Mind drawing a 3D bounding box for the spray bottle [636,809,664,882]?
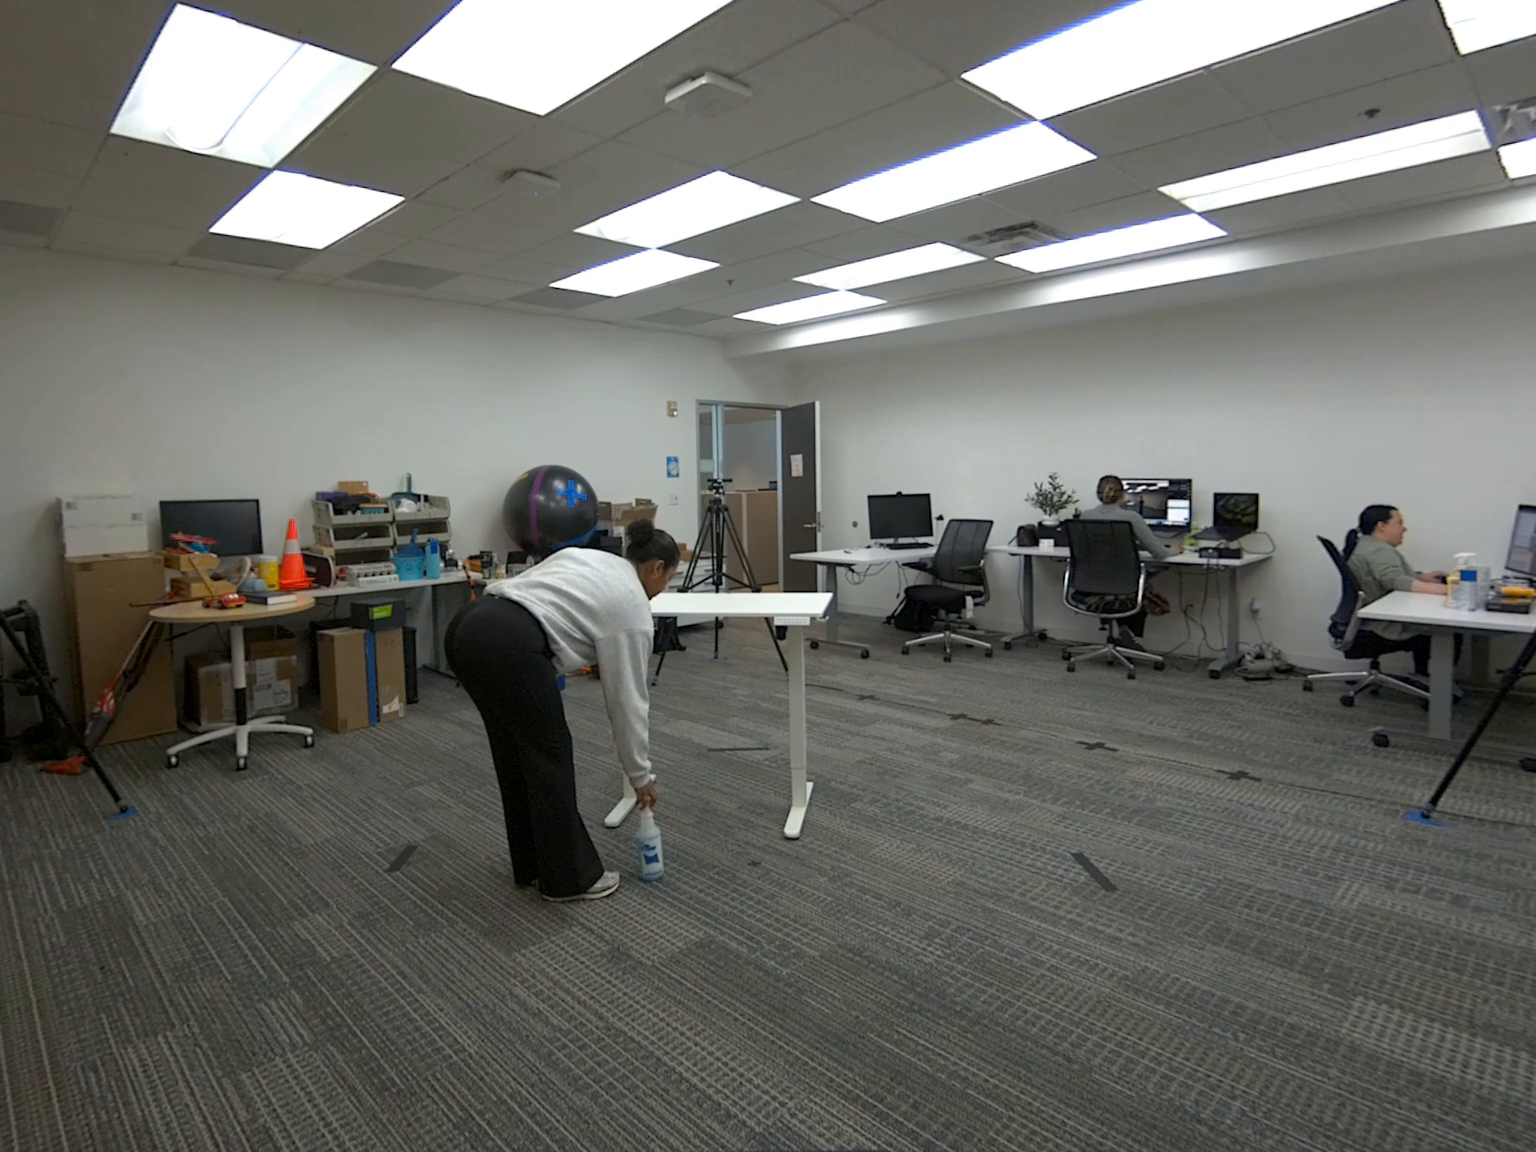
[{"bbox_3d":[-0.421,0.887,3.009,0.087,0.297,0.089,-3,-1,-41],"label":"spray bottle"}]
